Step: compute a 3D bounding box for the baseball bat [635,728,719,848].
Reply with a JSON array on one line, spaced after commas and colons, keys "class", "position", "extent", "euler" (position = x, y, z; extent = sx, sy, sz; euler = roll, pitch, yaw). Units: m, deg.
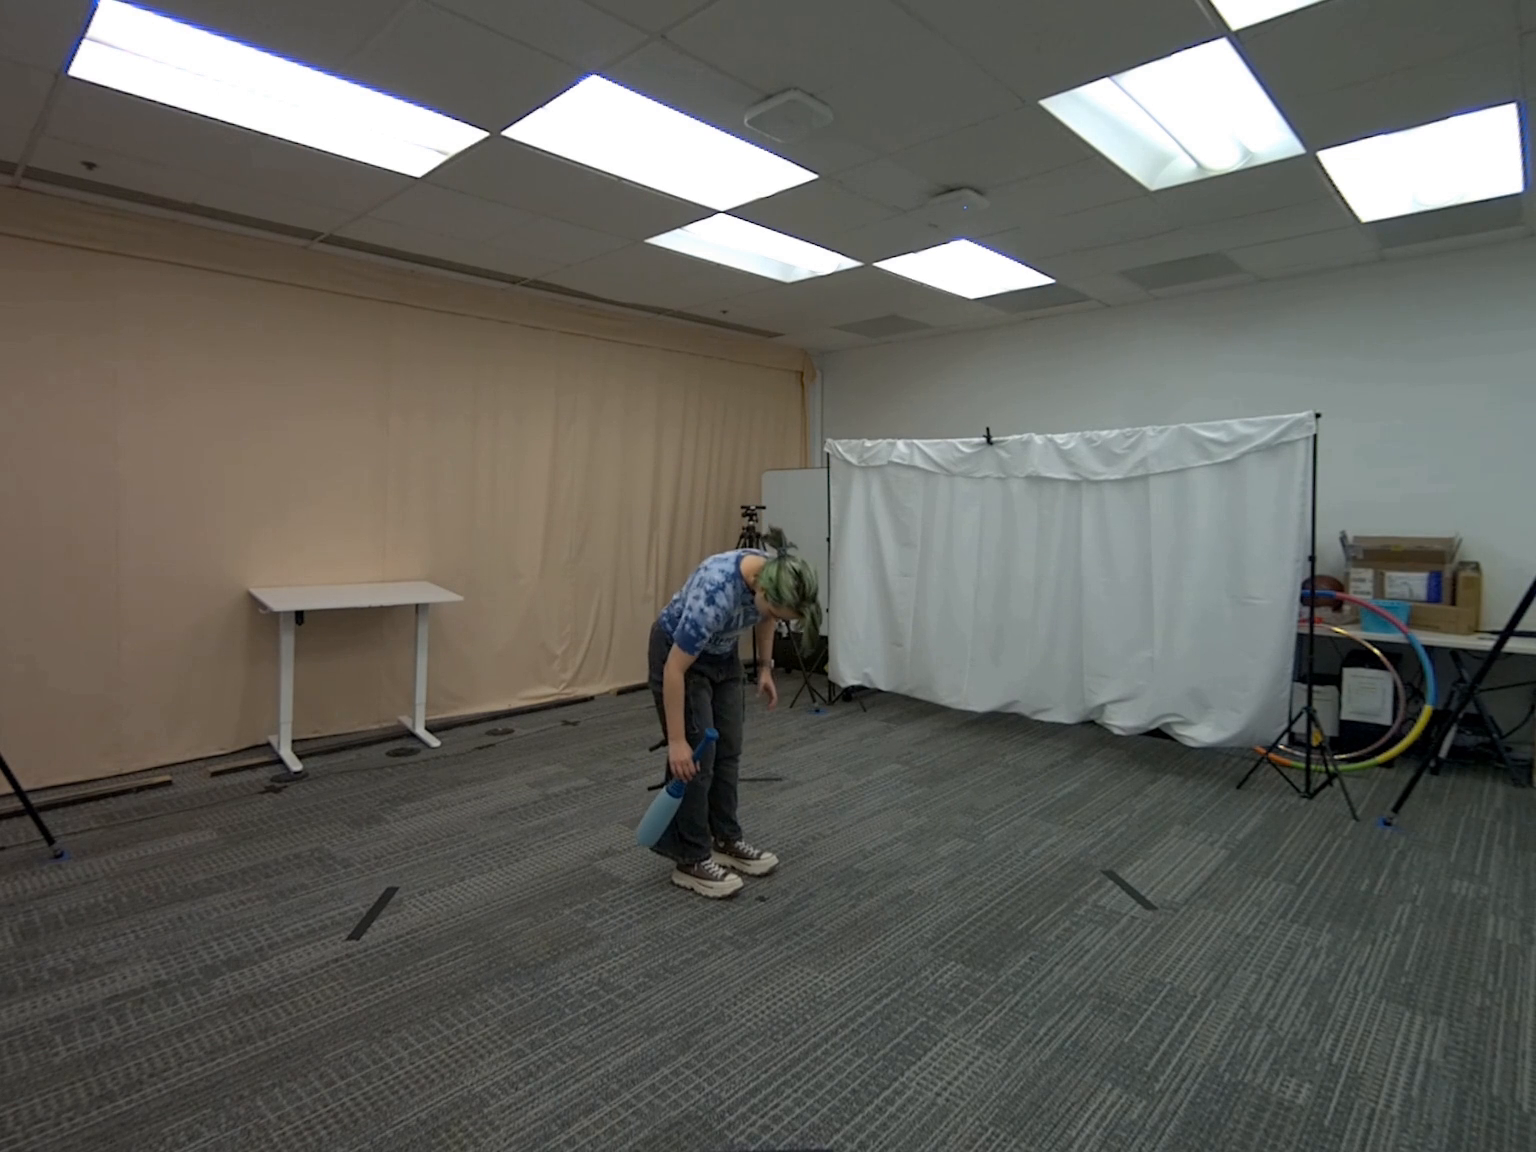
[{"class": "baseball bat", "position": [-0.316, 0.723, 2.881], "extent": [0.087, 0.543, 0.090], "euler": [25, 24, -14]}]
